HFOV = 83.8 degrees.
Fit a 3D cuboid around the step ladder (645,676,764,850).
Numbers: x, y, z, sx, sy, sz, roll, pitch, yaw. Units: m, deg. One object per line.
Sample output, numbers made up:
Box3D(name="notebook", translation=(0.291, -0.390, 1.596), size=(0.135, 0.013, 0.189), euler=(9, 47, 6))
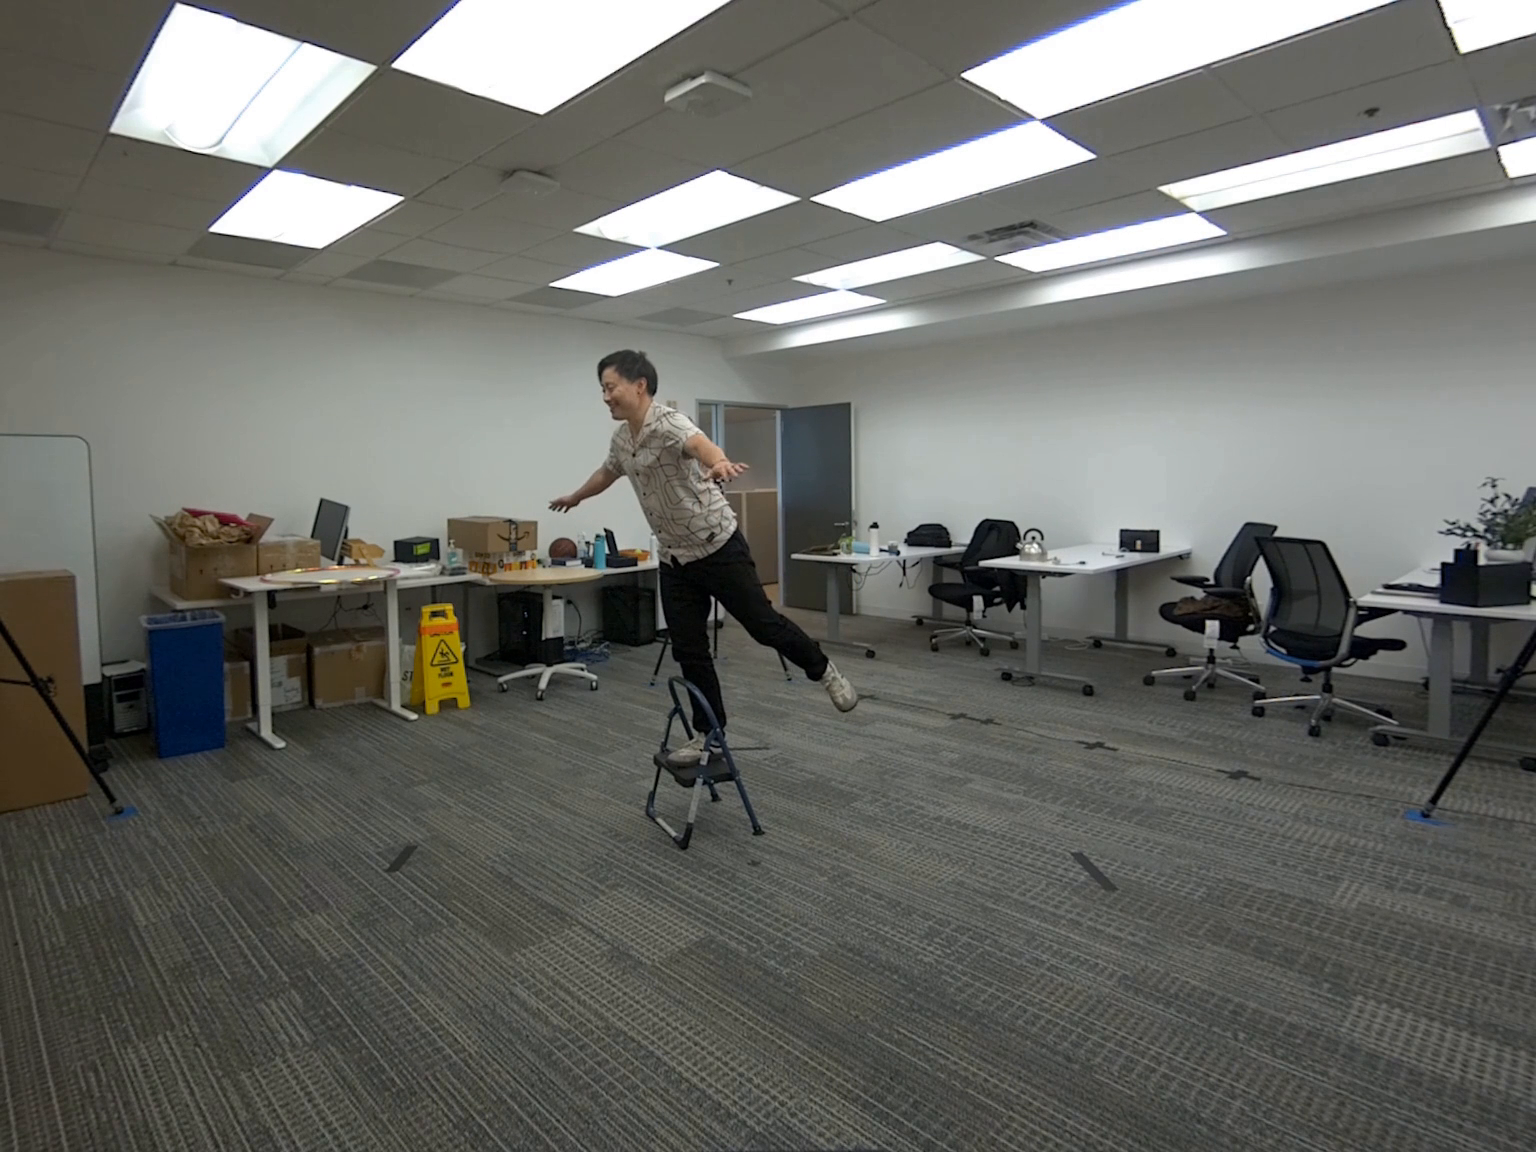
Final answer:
Box3D(name="step ladder", translation=(-0.270, 0.705, 3.462), size=(0.341, 0.604, 0.442), euler=(-3, 4, -28))
